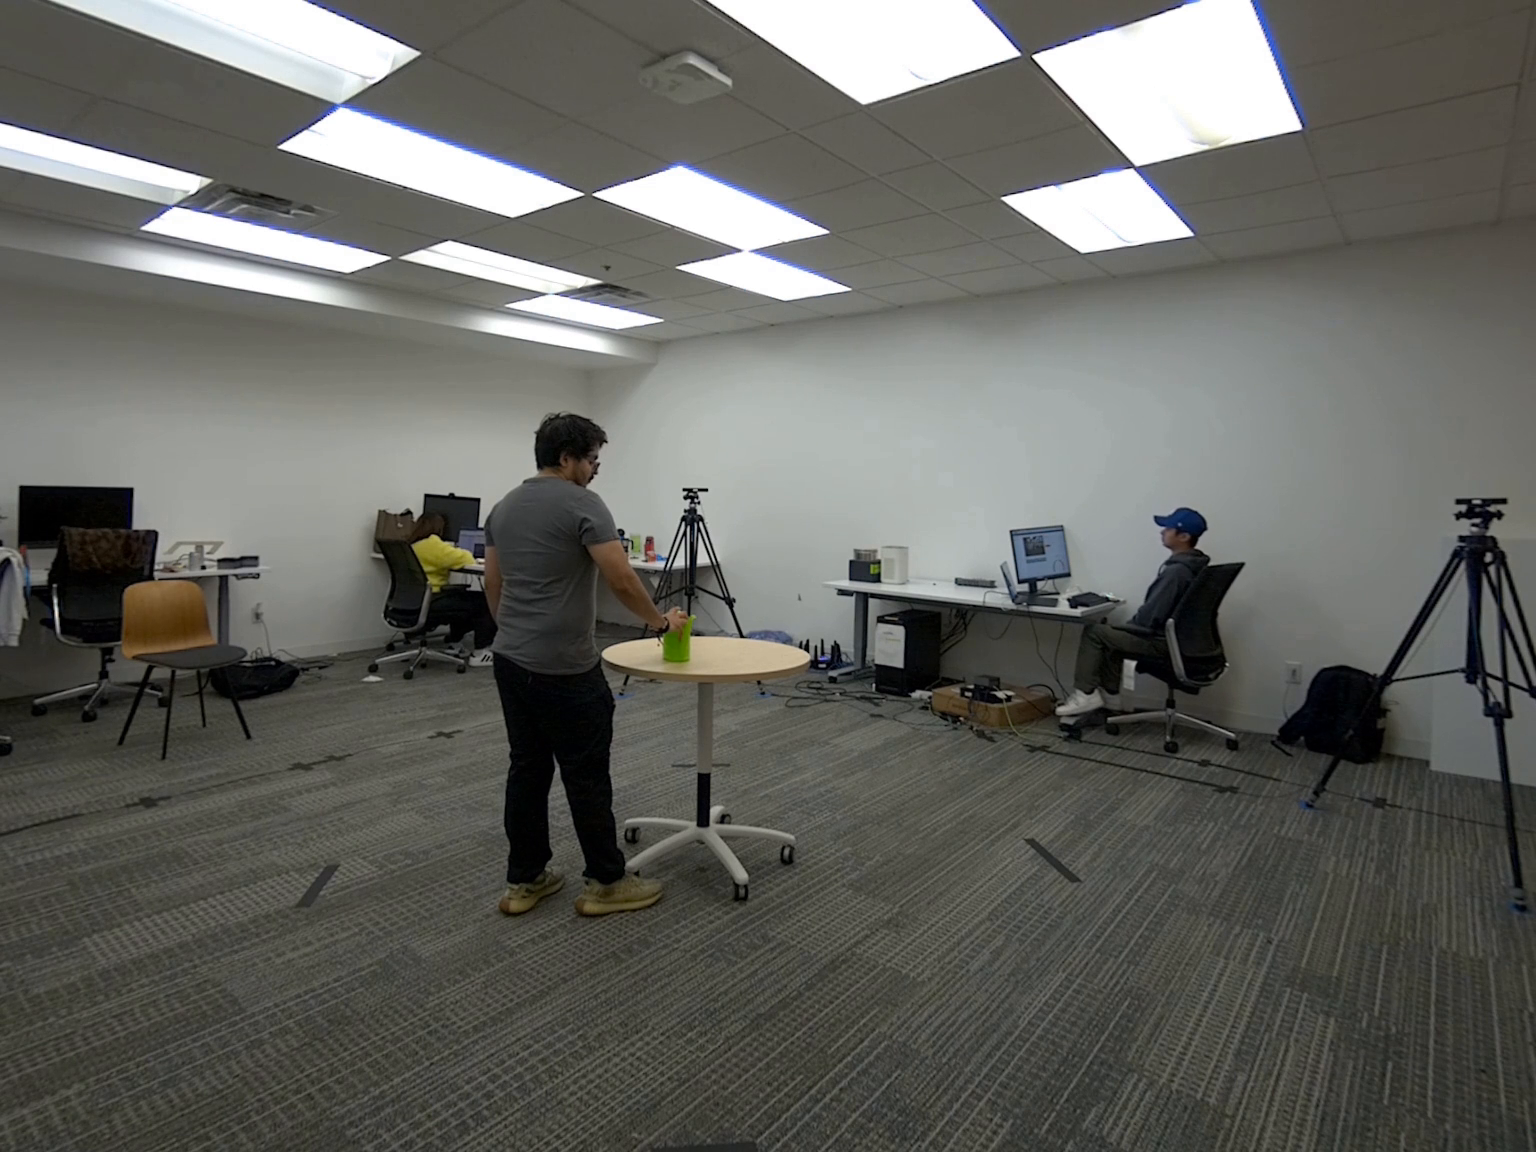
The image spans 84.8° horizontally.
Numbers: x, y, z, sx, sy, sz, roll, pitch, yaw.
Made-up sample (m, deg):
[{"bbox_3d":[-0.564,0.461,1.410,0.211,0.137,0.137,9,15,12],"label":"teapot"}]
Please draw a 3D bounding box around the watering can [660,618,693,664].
[{"bbox_3d":[-0.326,0.214,2.965,0.097,0.177,0.282,0,2,-14],"label":"watering can"}]
